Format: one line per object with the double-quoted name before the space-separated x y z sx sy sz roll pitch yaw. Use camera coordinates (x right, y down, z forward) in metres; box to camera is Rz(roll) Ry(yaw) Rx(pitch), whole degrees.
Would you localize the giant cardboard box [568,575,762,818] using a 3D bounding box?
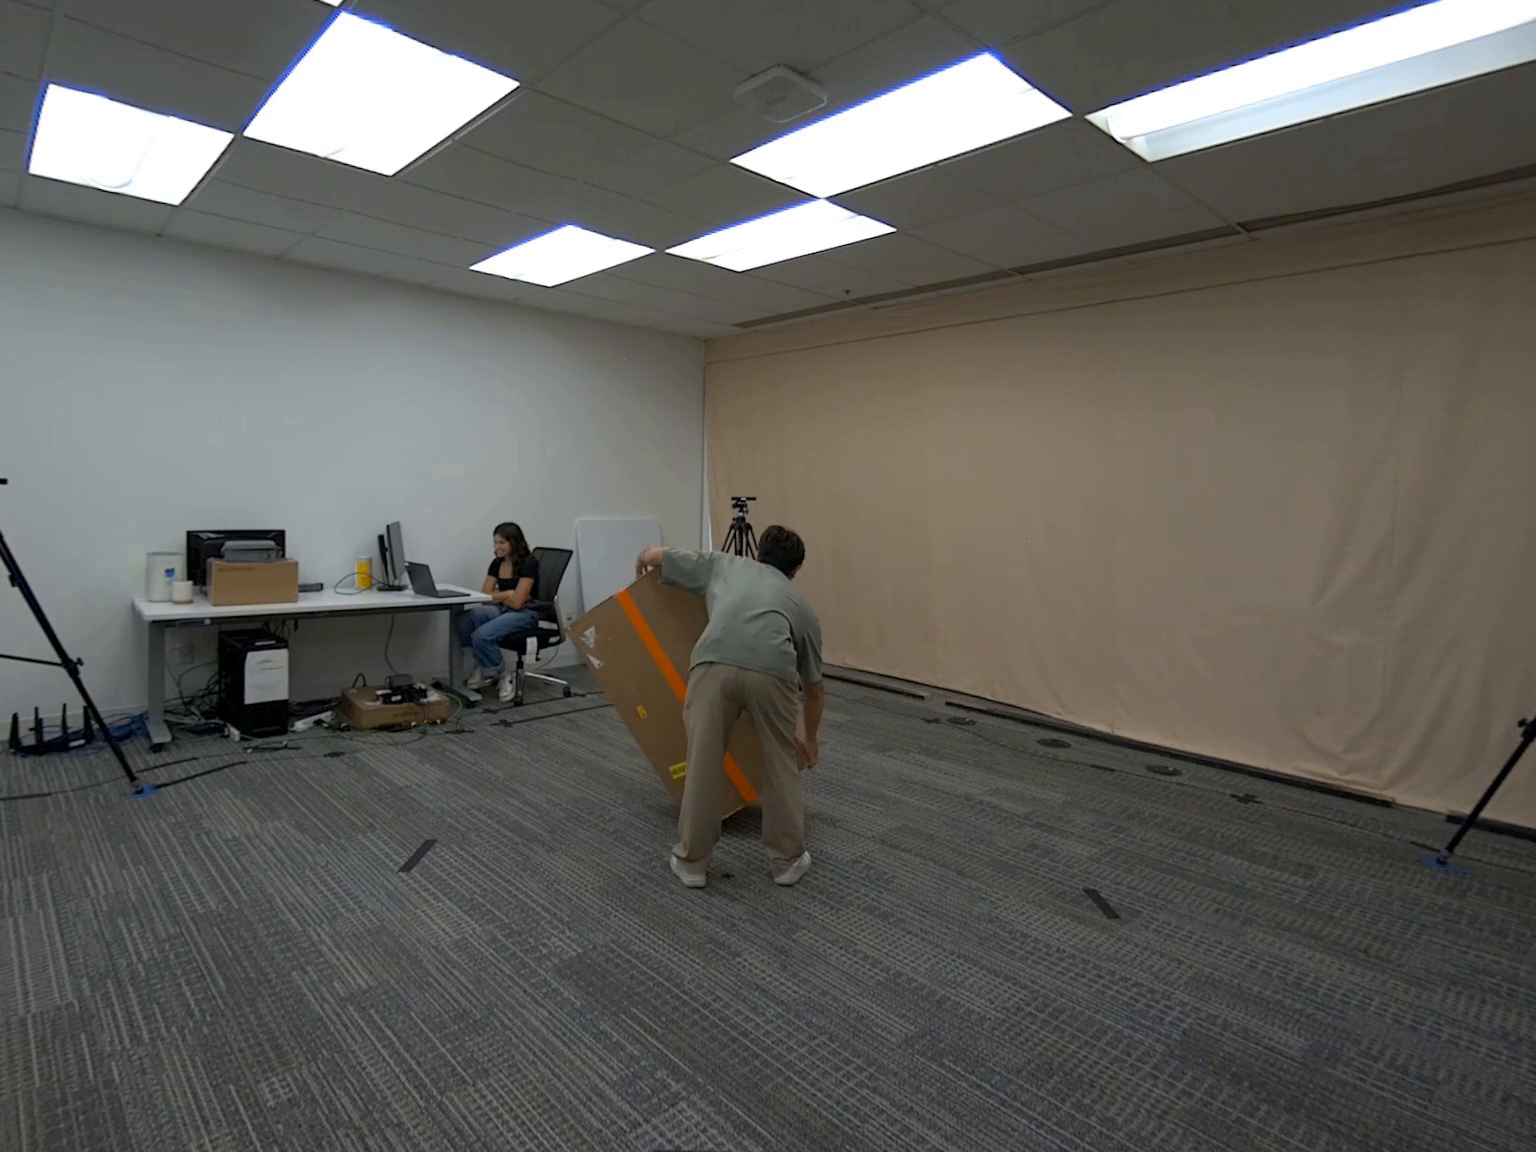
"giant cardboard box" -0.337 0.475 3.666 0.578 1.026 0.426 -33 0 4
